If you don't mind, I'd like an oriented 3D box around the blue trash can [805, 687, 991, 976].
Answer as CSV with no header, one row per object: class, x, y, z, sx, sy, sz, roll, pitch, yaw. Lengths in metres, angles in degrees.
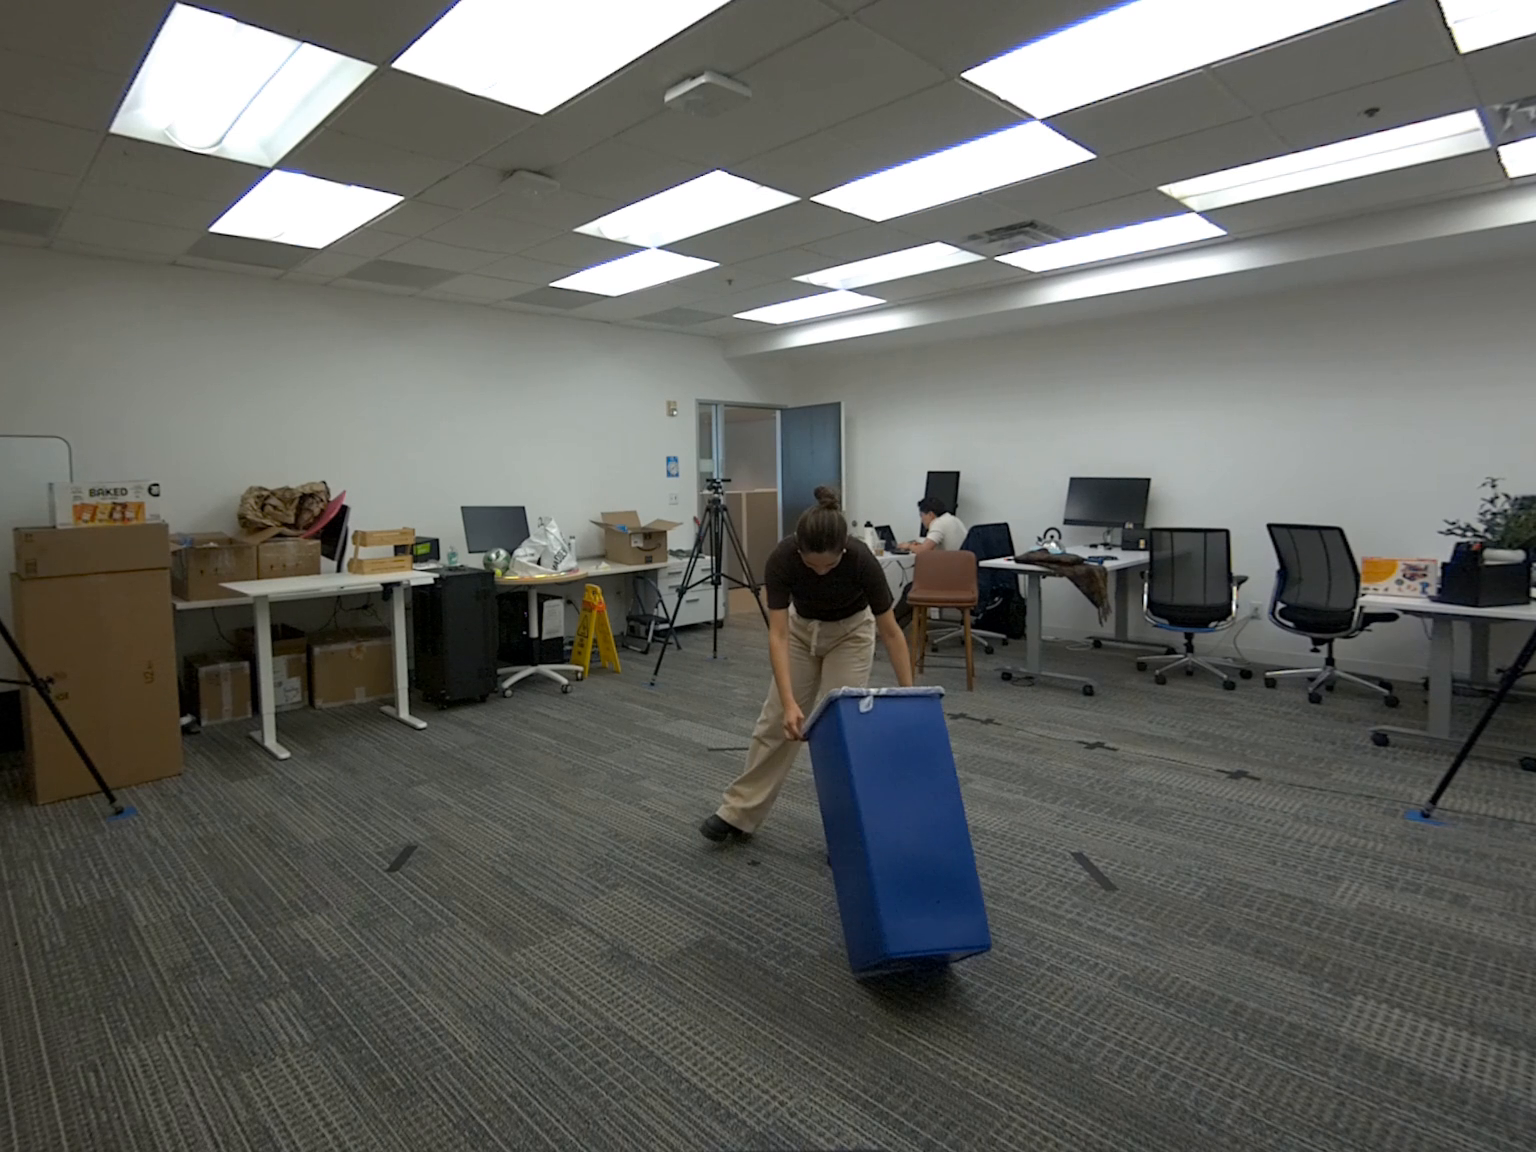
blue trash can,0.348,0.736,2.499,0.373,0.733,0.369,2,-32,-14
